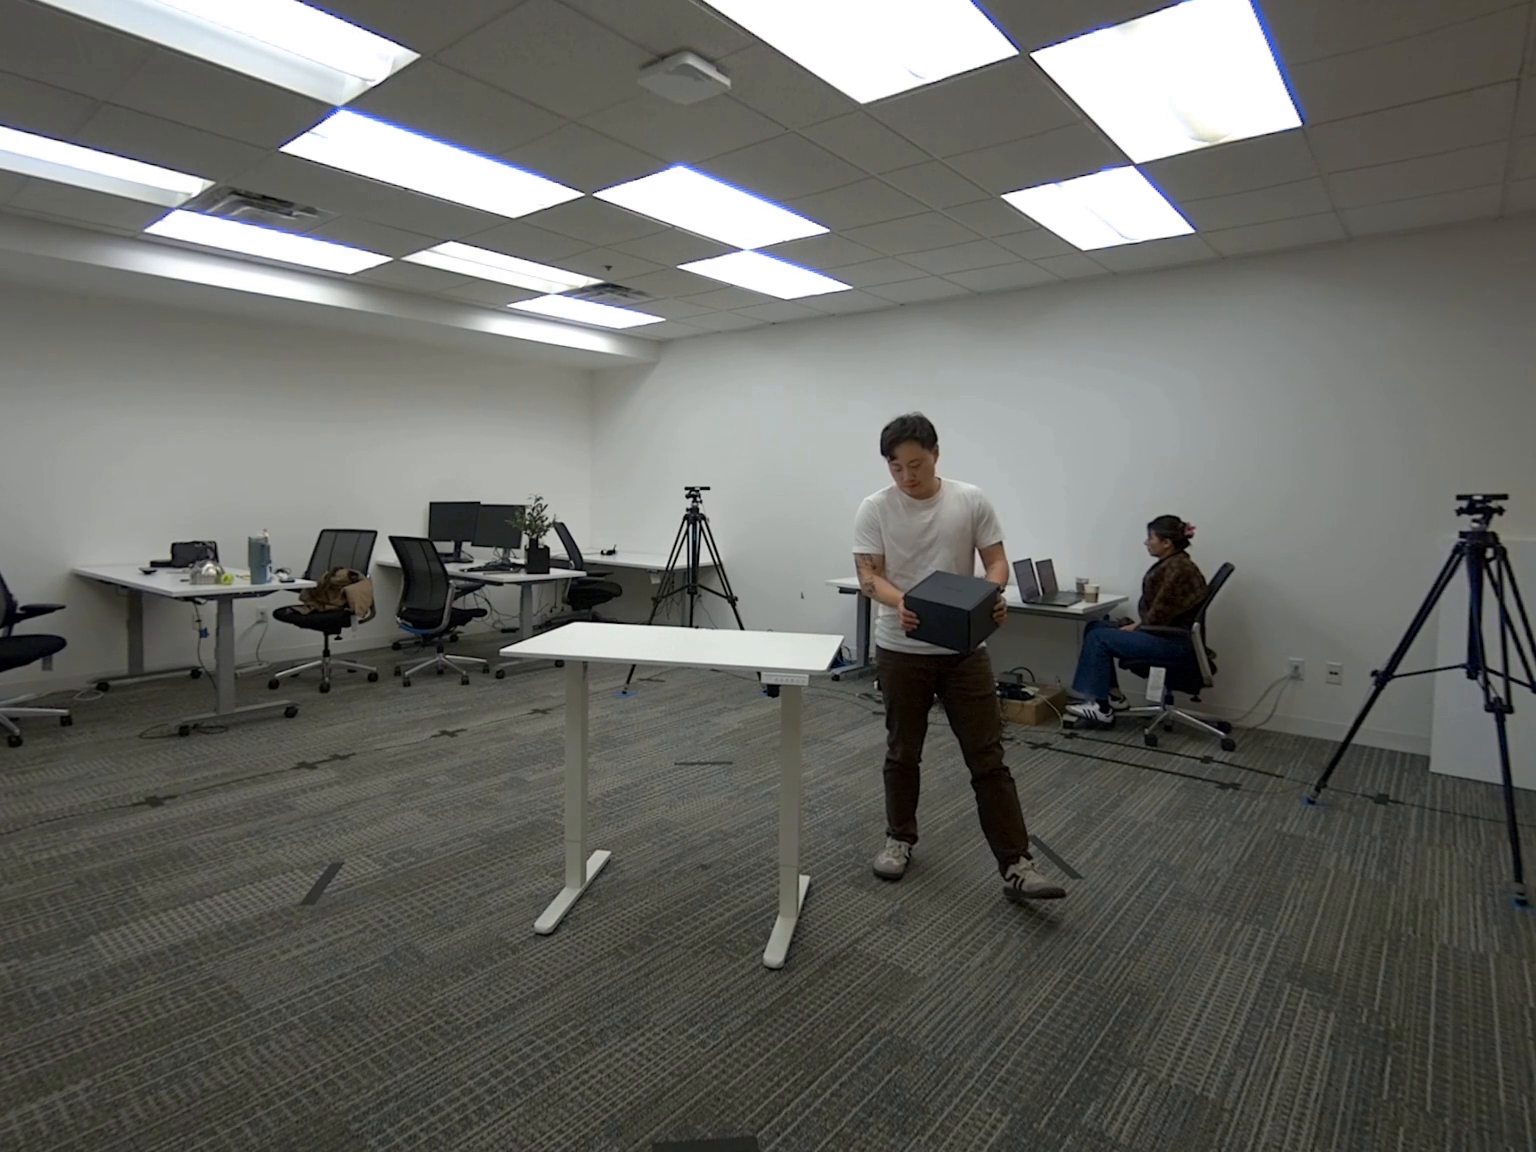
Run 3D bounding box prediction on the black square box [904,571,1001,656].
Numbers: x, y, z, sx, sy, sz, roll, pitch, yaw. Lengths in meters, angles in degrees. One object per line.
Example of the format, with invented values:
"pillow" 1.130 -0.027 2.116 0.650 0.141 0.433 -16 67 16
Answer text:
"black square box" 0.591 0.108 2.734 0.236 0.152 0.214 12 30 39
